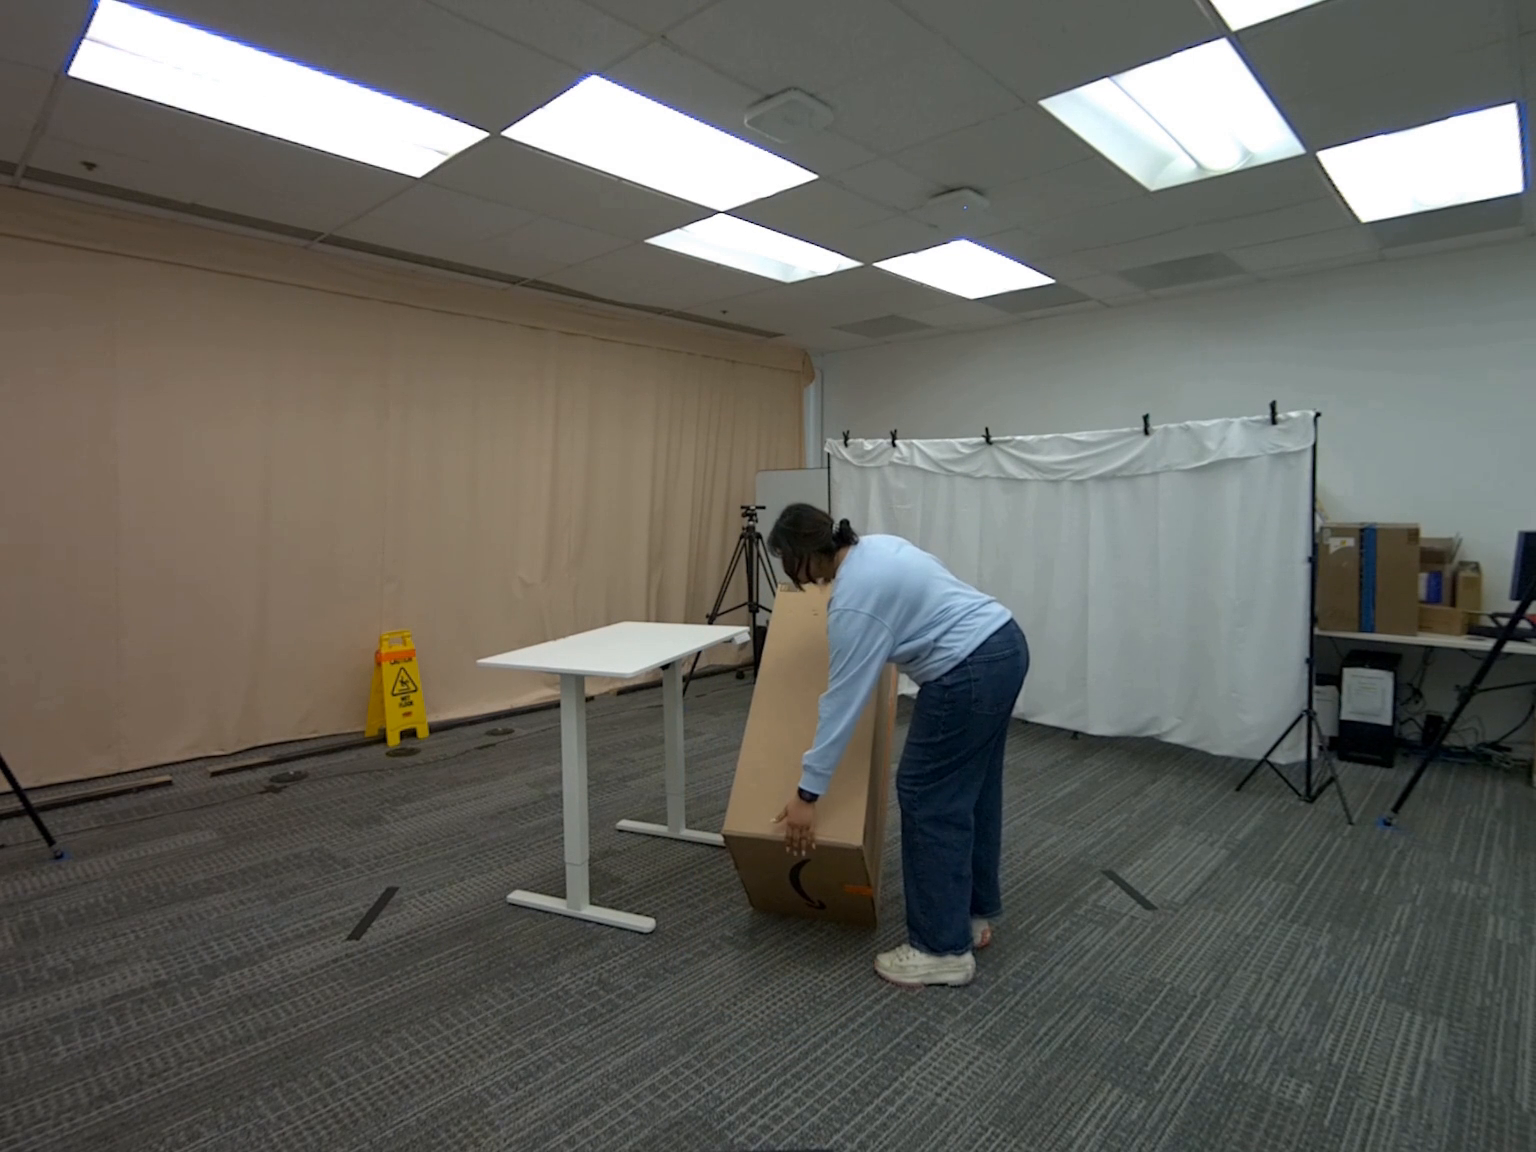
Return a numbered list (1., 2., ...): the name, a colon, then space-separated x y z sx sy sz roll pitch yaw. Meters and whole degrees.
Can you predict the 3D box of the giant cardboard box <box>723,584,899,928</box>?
1. giant cardboard box: 0.204 0.590 2.983 0.433 0.562 1.035 1 47 14
